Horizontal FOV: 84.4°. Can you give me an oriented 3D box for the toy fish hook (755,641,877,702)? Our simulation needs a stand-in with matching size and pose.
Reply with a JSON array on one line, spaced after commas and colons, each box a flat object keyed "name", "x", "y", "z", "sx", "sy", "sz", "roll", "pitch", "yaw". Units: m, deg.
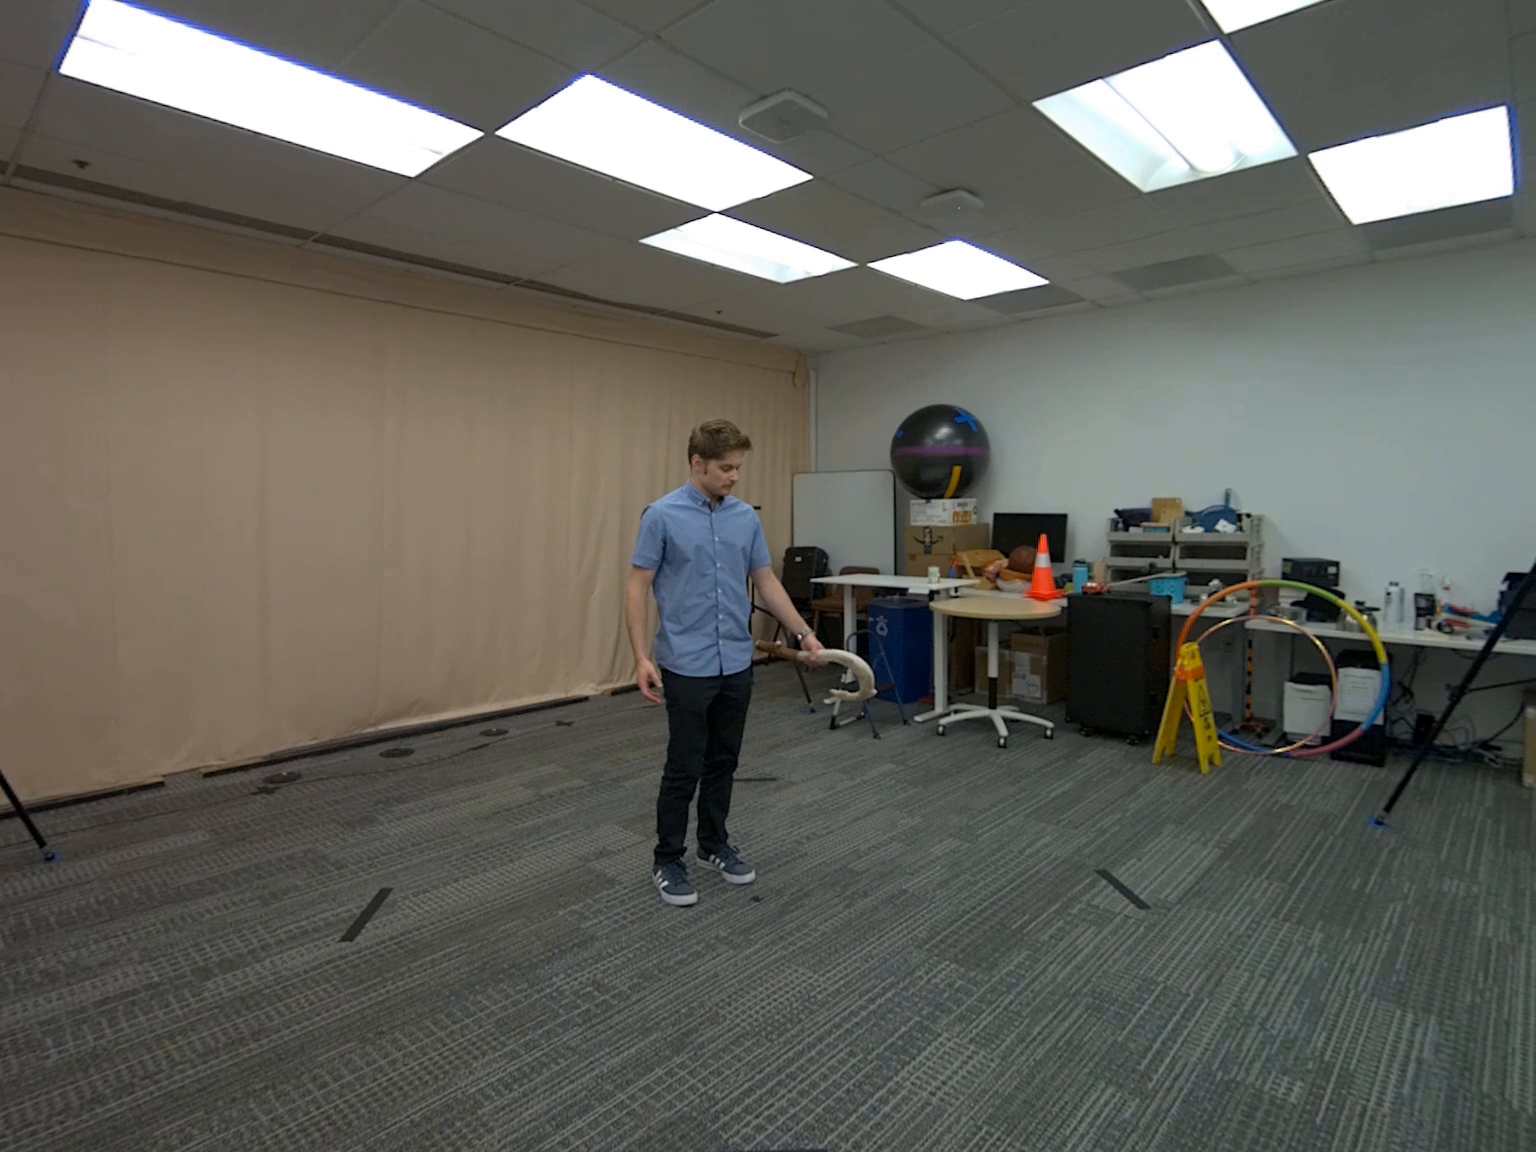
[{"name": "toy fish hook", "x": 0.176, "y": 0.354, "z": 3.134, "sx": 0.524, "sy": 0.220, "sz": 0.047, "roll": 10, "pitch": 31, "yaw": 36}]
